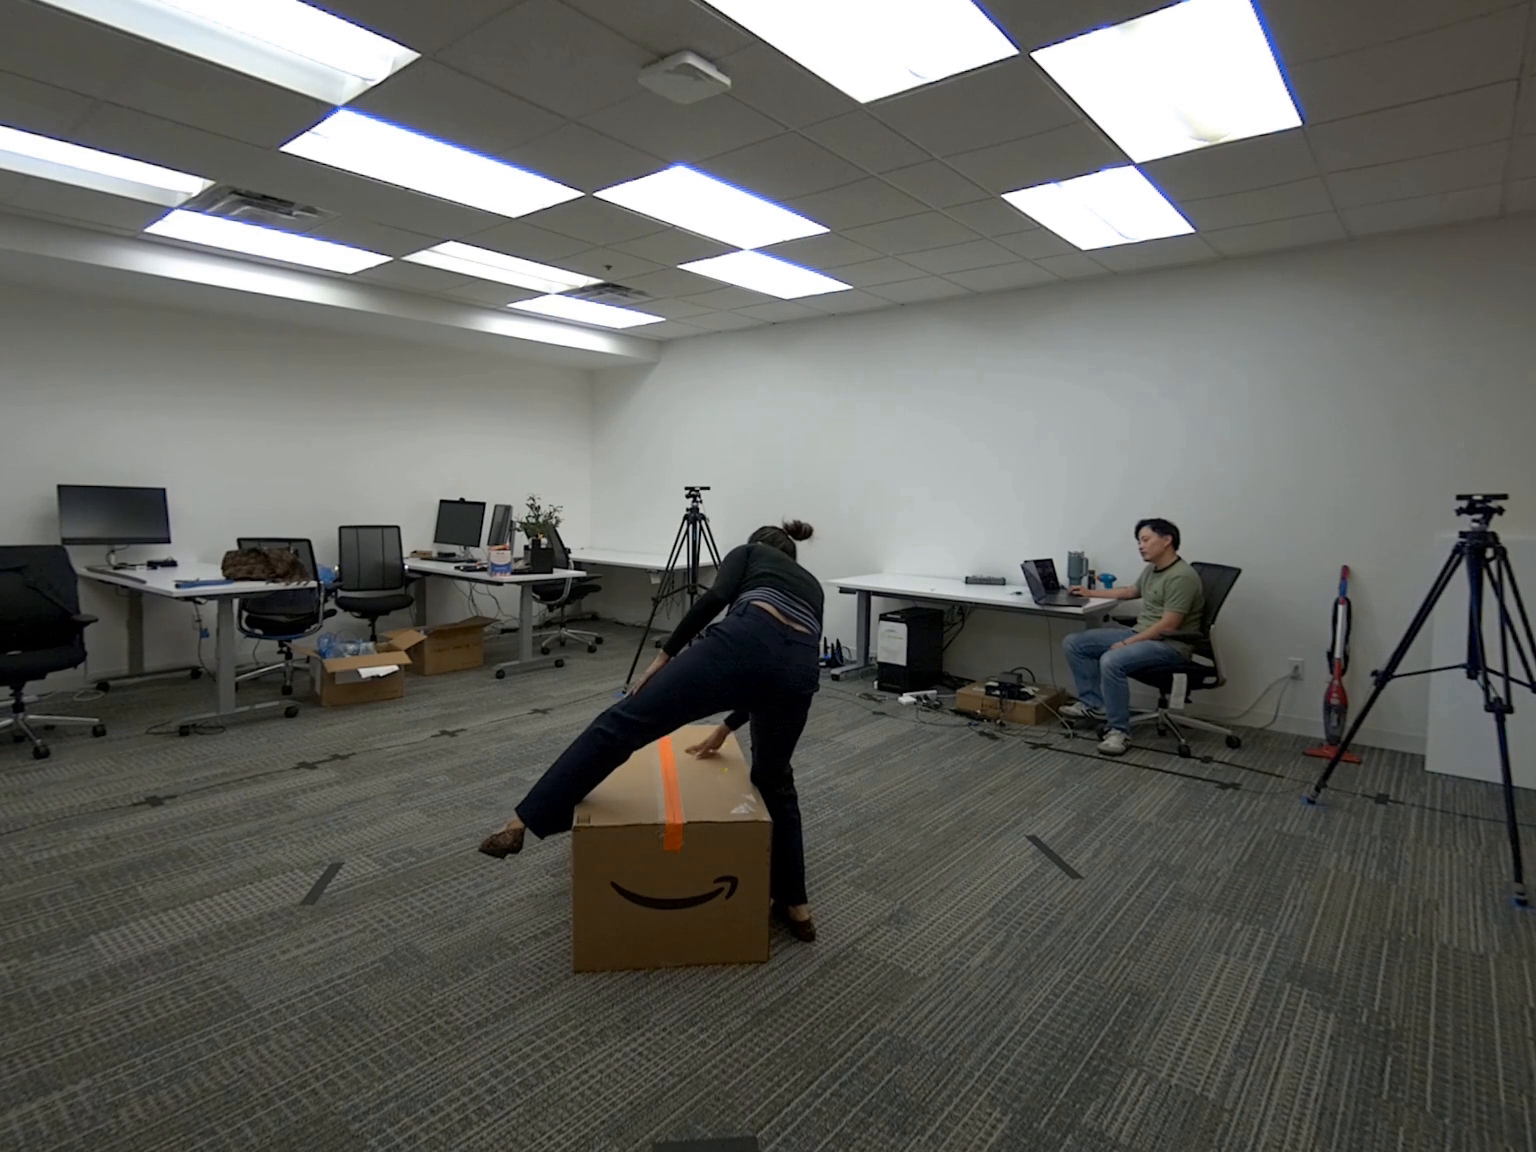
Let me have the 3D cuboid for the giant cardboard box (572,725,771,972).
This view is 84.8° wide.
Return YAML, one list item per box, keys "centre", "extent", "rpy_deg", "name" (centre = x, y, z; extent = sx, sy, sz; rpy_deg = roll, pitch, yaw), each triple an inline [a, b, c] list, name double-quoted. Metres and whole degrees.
- centre: [-0.367, 0.865, 2.949]
  extent: [0.573, 0.425, 1.038]
  rpy_deg: [1, 5, -9]
  name: "giant cardboard box"
